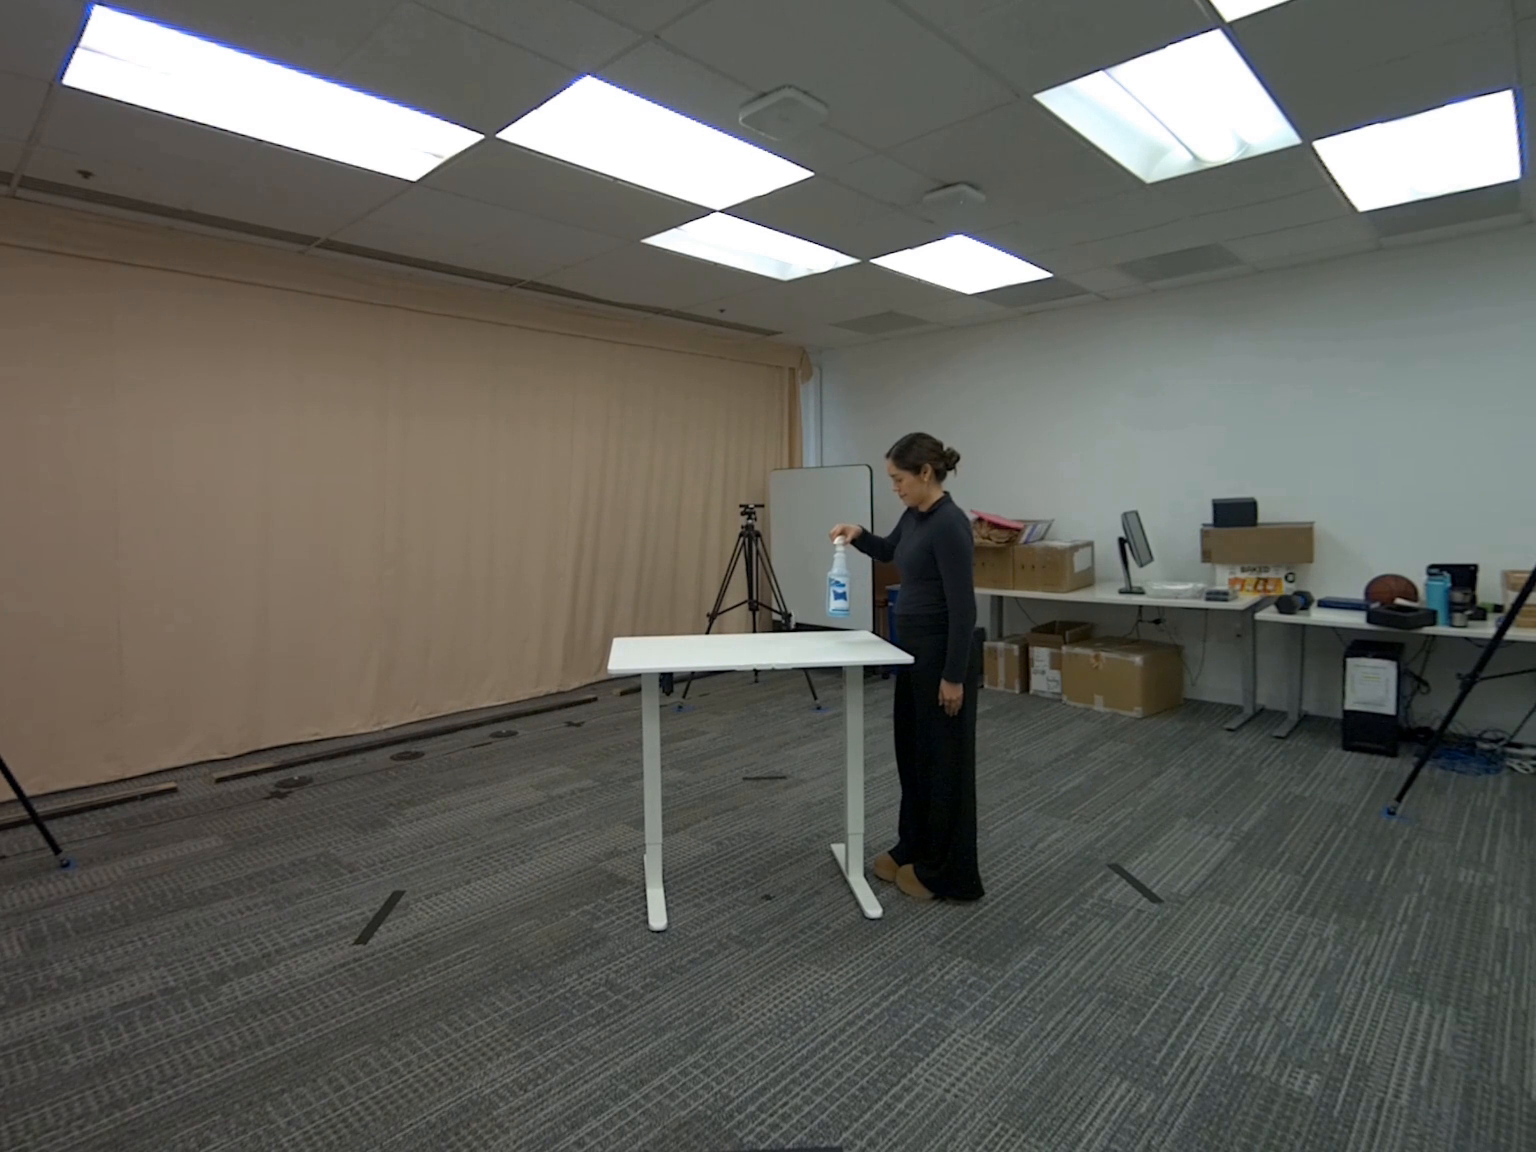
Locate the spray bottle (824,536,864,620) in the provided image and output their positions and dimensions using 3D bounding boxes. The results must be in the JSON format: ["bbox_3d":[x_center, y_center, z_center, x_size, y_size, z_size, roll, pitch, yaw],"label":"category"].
[{"bbox_3d":[0.279,0.004,3.101,0.087,0.297,0.089,5,-1,-28],"label":"spray bottle"}]
